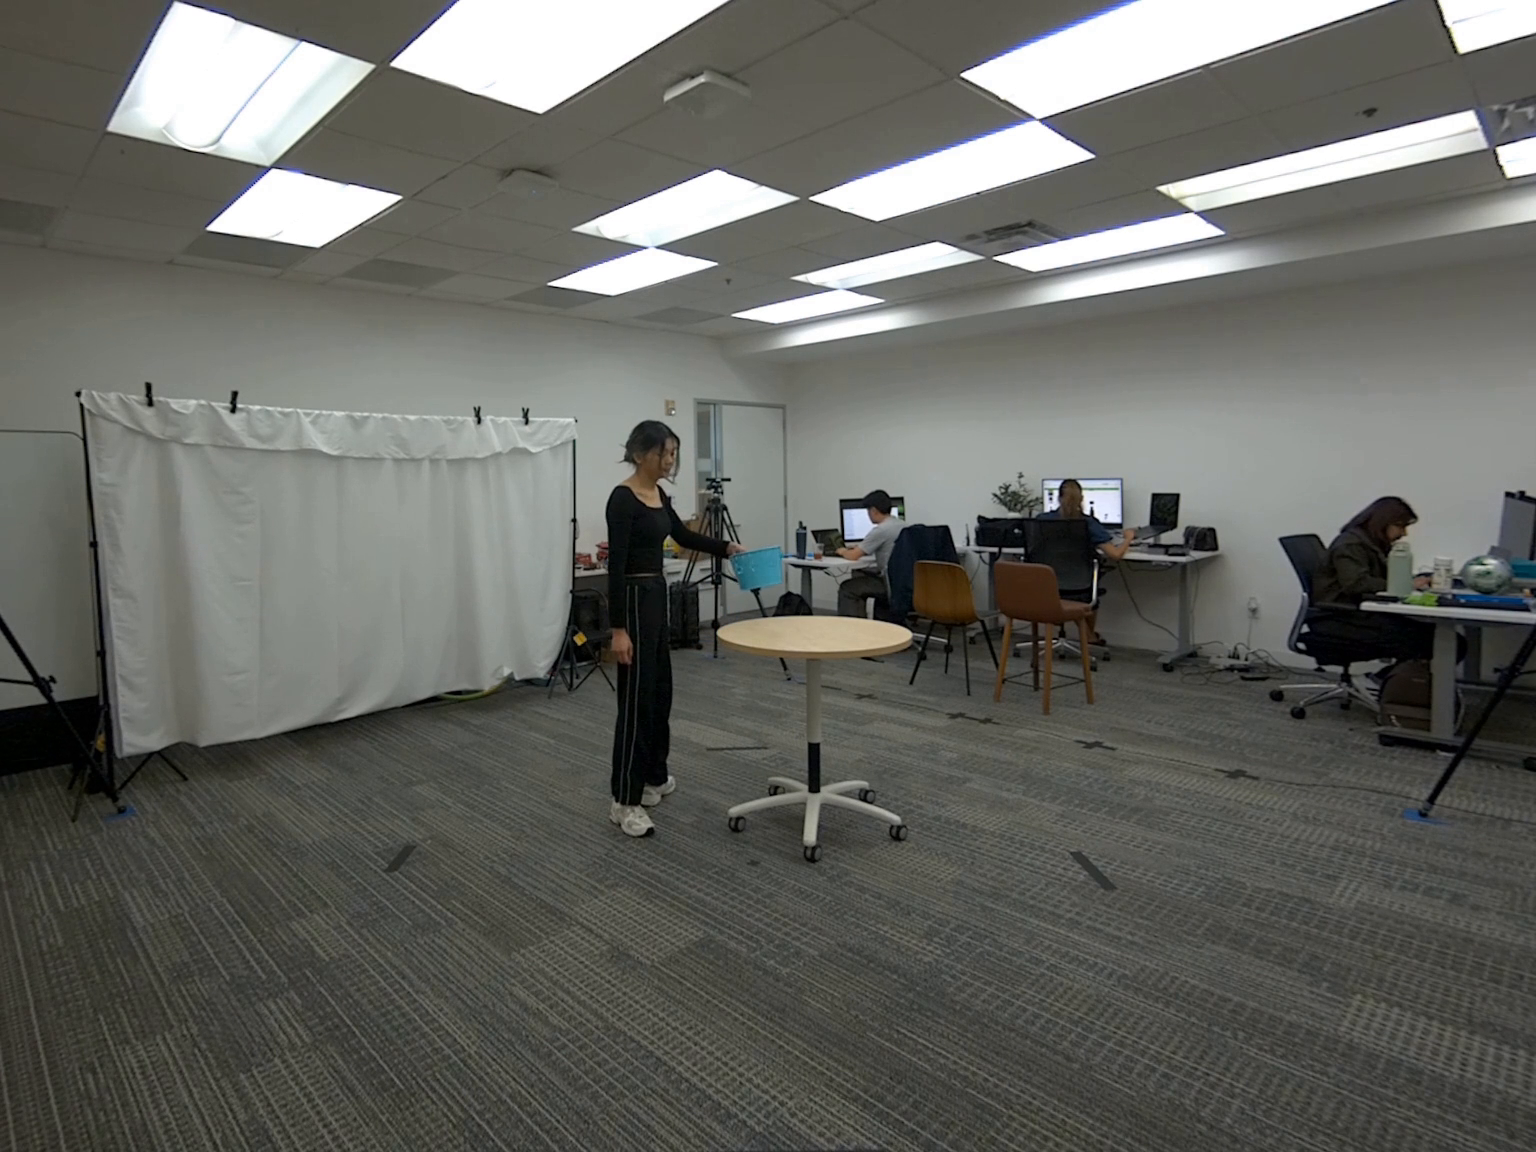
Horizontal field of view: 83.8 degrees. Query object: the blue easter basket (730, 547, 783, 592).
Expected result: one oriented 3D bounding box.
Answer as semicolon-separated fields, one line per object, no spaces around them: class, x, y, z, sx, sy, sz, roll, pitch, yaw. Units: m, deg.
blue easter basket;-0.058;-0.025;3.636;0.243;0.156;0.243;-9;-1;-2
